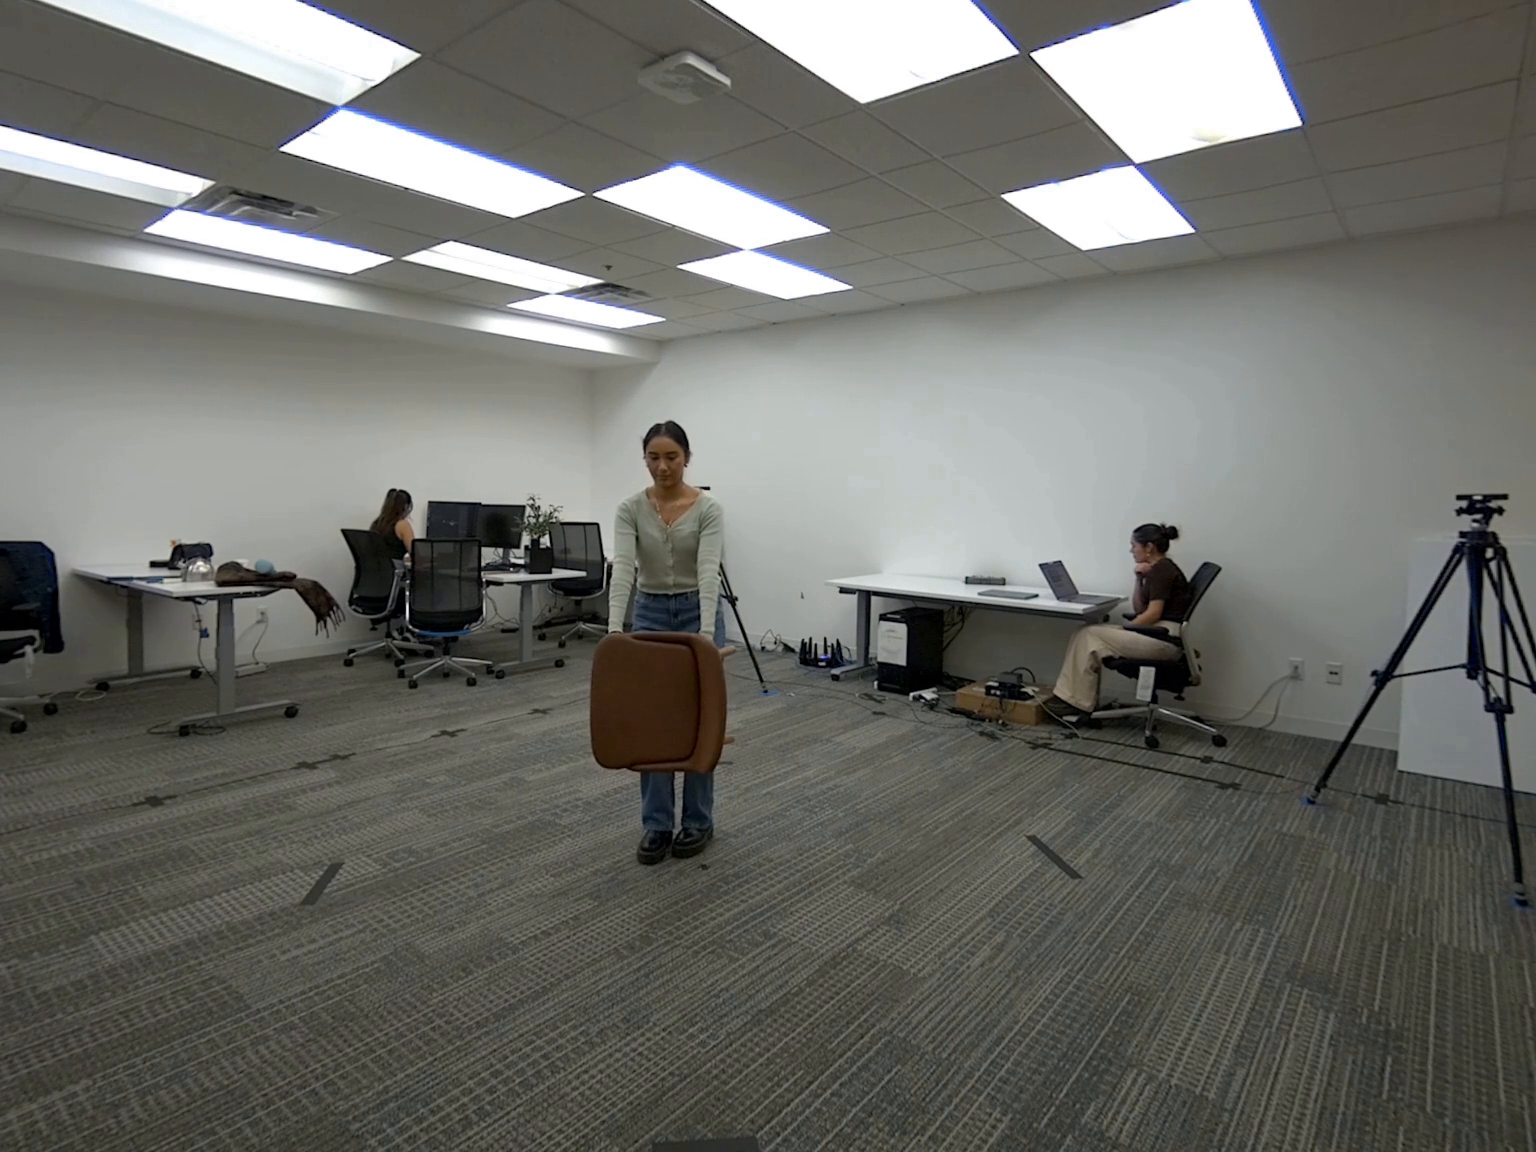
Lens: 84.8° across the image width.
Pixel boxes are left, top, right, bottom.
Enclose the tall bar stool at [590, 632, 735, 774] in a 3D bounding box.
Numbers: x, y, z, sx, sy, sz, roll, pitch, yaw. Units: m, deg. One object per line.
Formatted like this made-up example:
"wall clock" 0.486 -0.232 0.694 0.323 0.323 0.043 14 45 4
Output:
"tall bar stool" -0.371 0.427 2.968 0.469 0.459 0.882 2 -5 1
